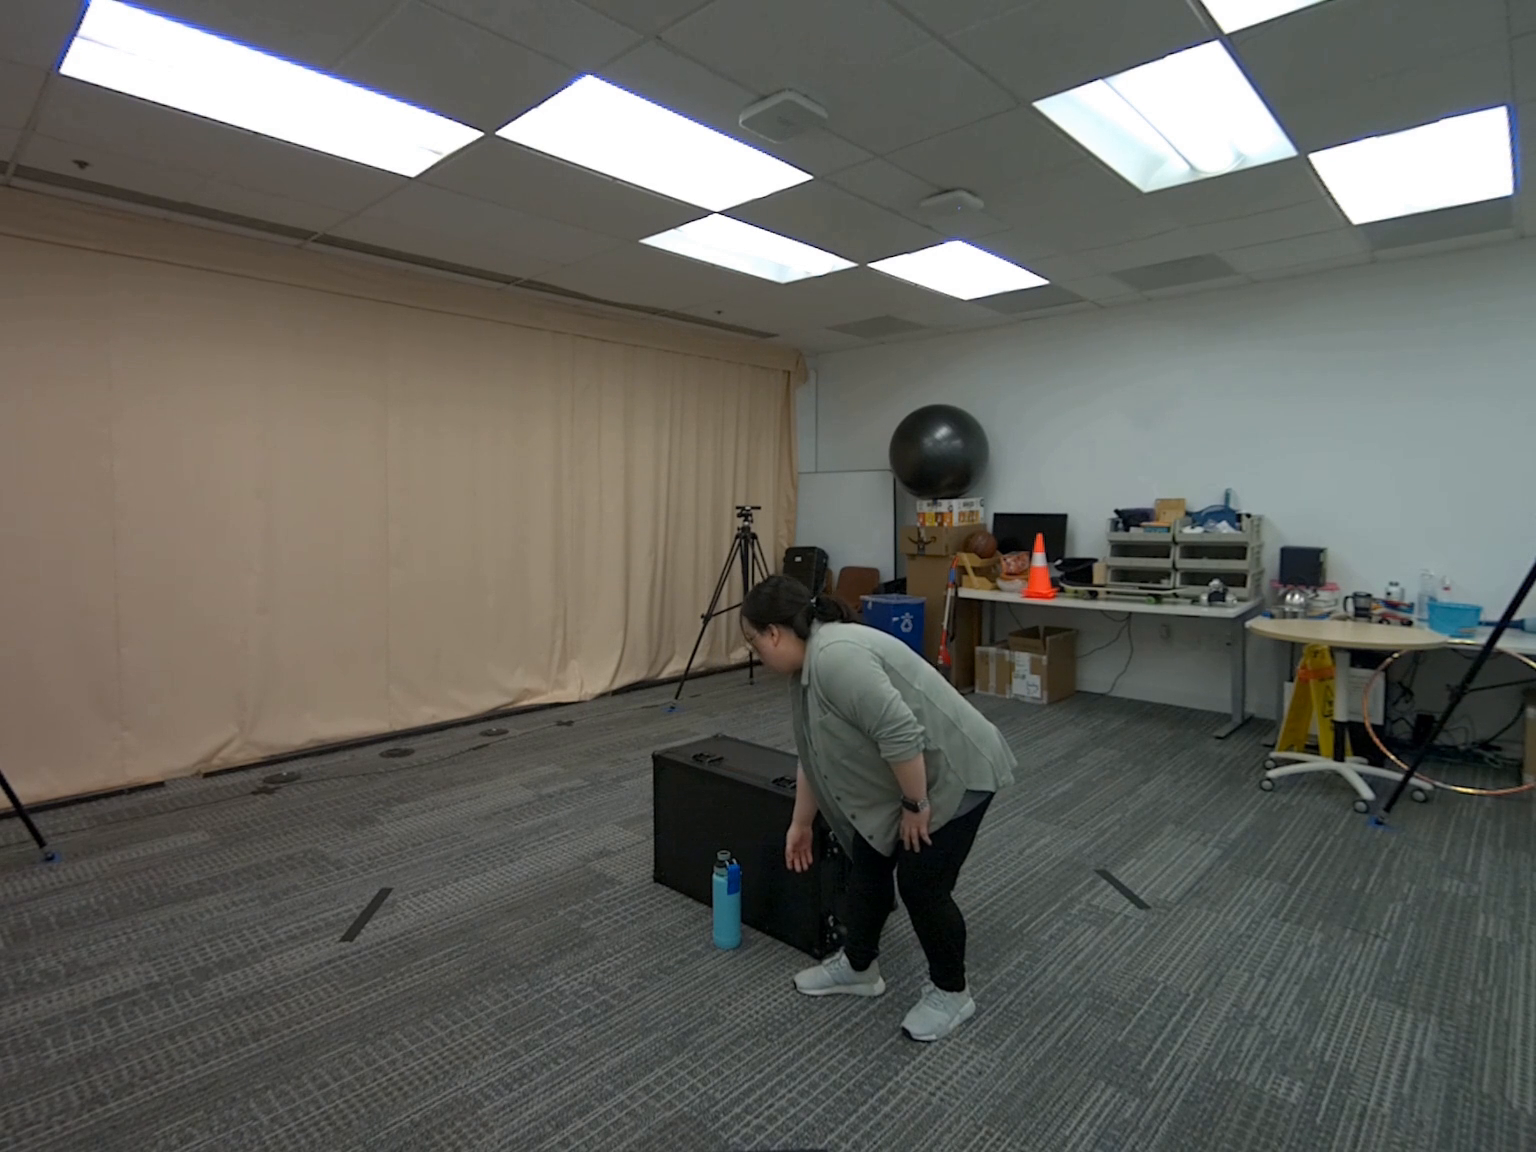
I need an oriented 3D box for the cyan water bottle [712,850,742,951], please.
[{"bbox_3d":[-0.127,1.026,2.693,0.092,0.282,0.093,0,5,-2],"label":"cyan water bottle"}]
